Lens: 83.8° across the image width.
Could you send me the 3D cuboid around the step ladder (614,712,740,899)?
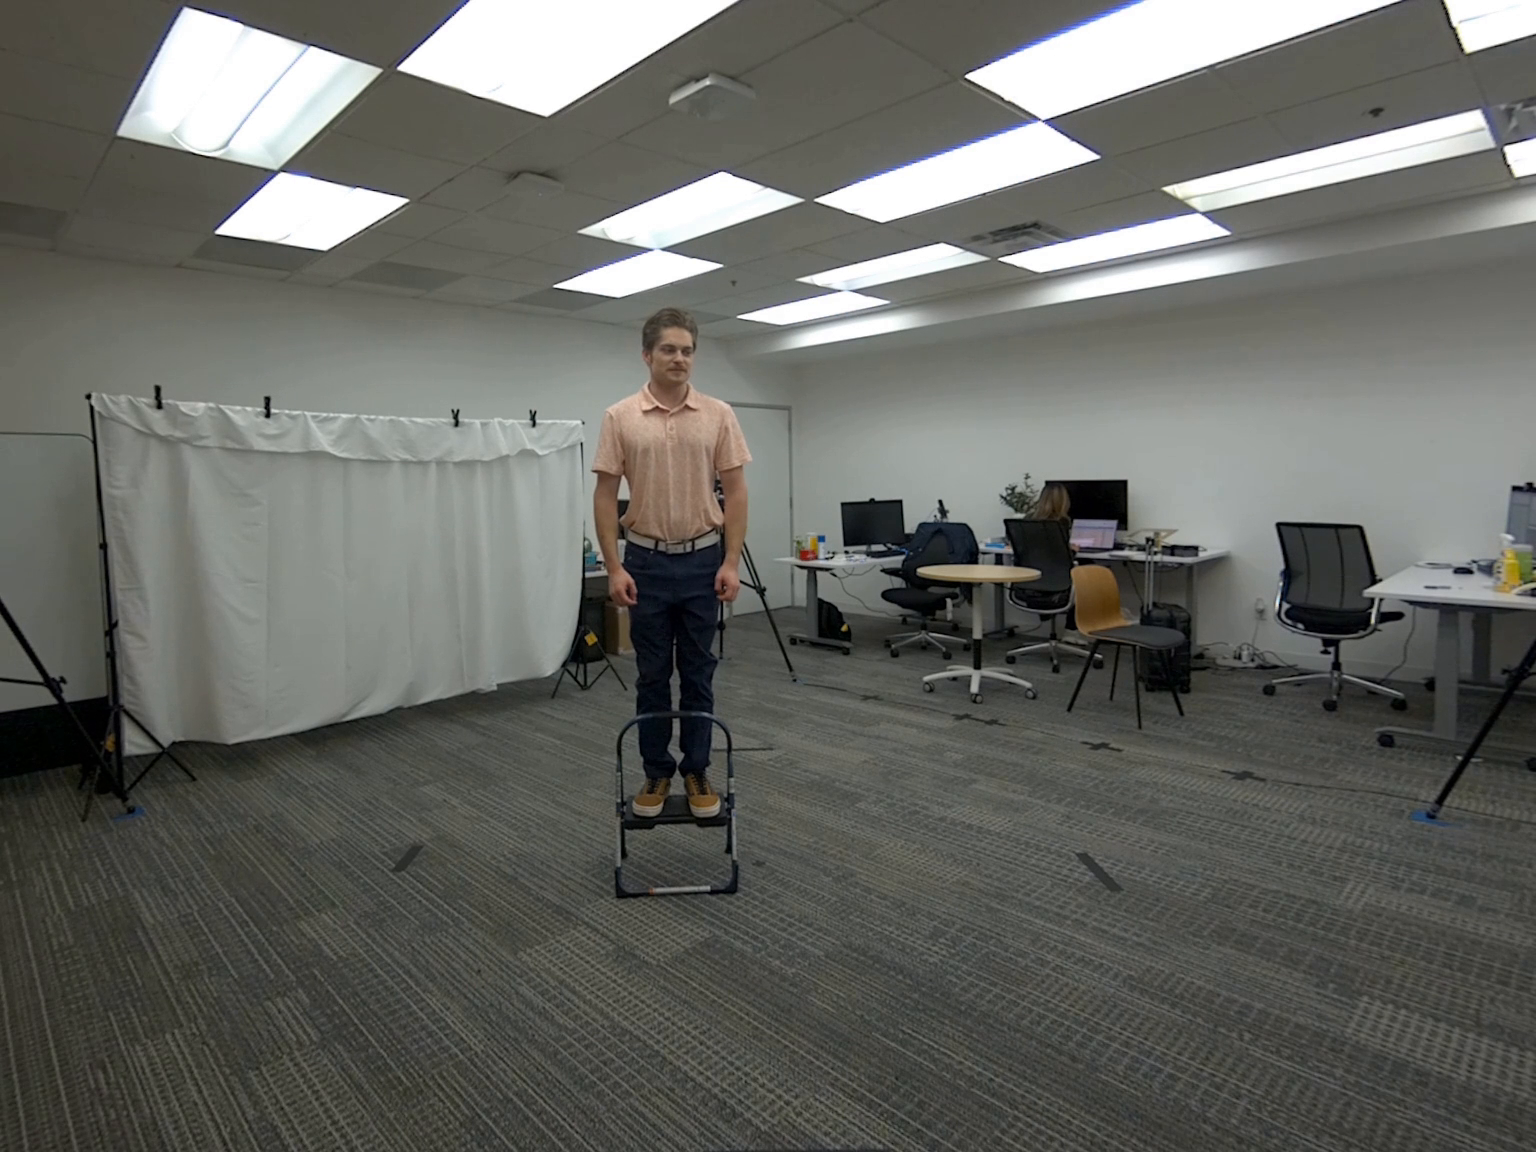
[{"bbox_3d":[-0.329,0.762,3.025,0.429,0.604,0.352,-2,4,-5],"label":"step ladder"}]
